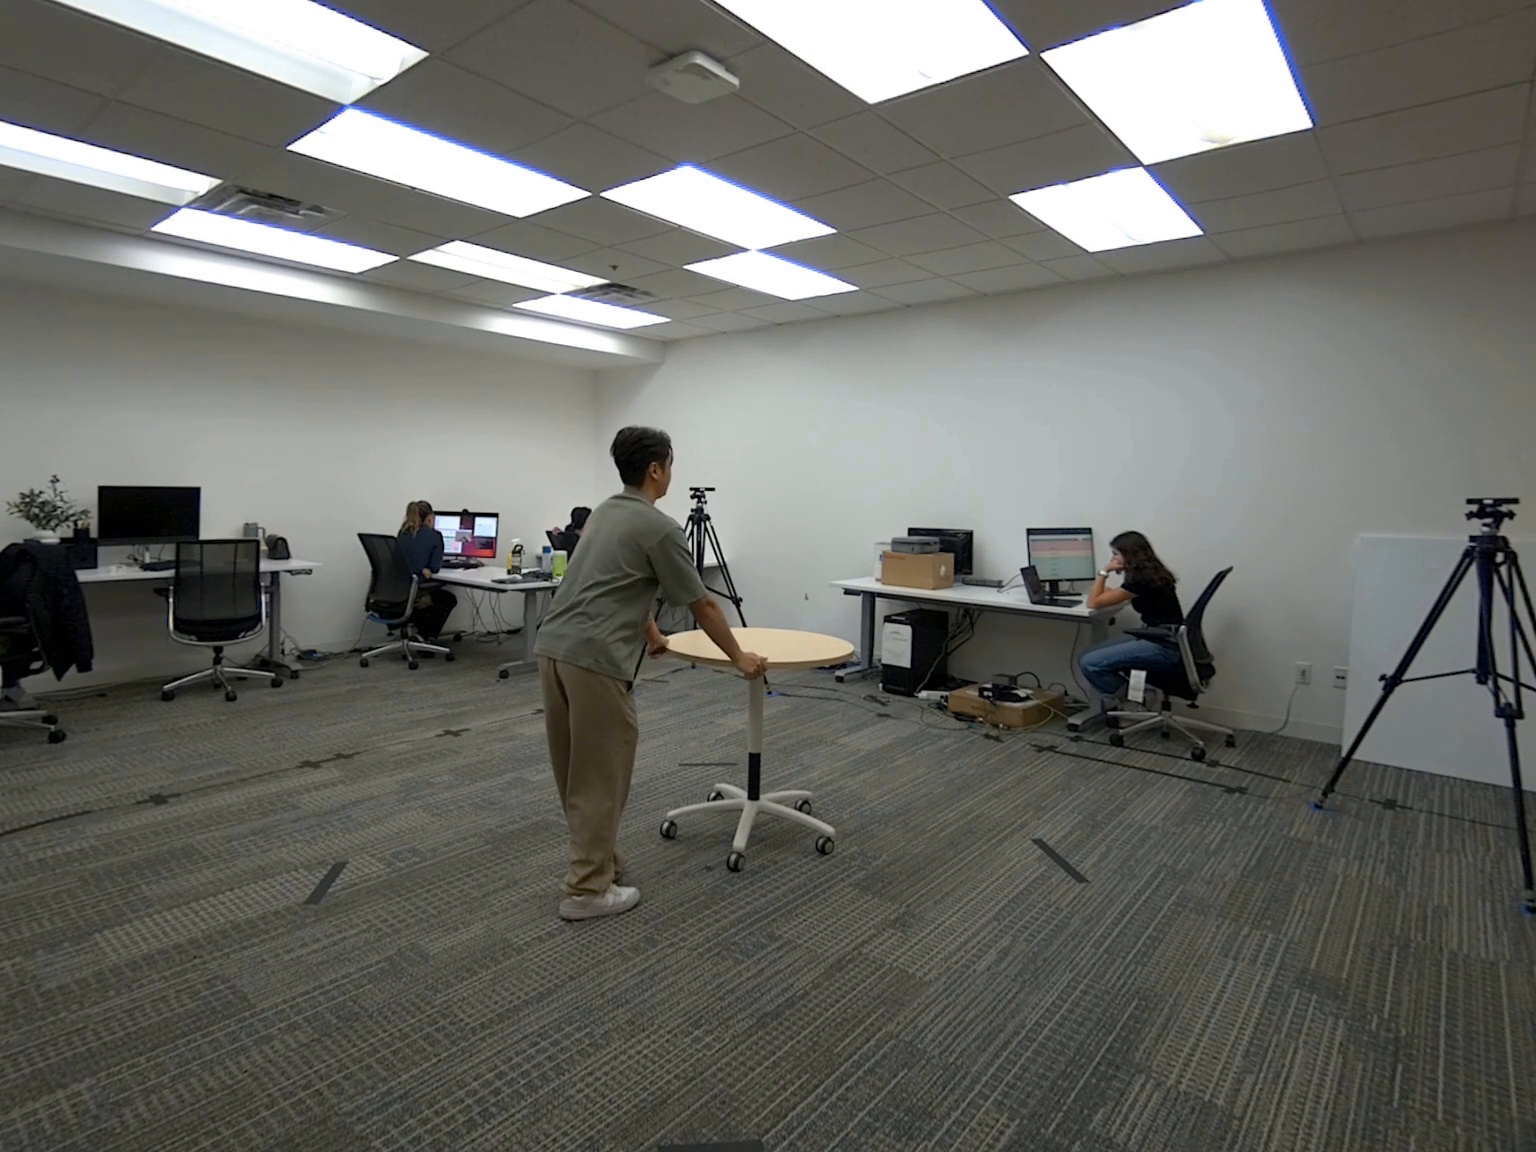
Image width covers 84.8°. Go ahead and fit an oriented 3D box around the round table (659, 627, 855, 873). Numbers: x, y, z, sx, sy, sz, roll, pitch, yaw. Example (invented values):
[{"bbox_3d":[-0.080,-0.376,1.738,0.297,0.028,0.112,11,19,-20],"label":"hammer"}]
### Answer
[{"bbox_3d":[-0.053,0.650,3.408,0.784,0.784,0.789,1,4,-2],"label":"round table"}]
